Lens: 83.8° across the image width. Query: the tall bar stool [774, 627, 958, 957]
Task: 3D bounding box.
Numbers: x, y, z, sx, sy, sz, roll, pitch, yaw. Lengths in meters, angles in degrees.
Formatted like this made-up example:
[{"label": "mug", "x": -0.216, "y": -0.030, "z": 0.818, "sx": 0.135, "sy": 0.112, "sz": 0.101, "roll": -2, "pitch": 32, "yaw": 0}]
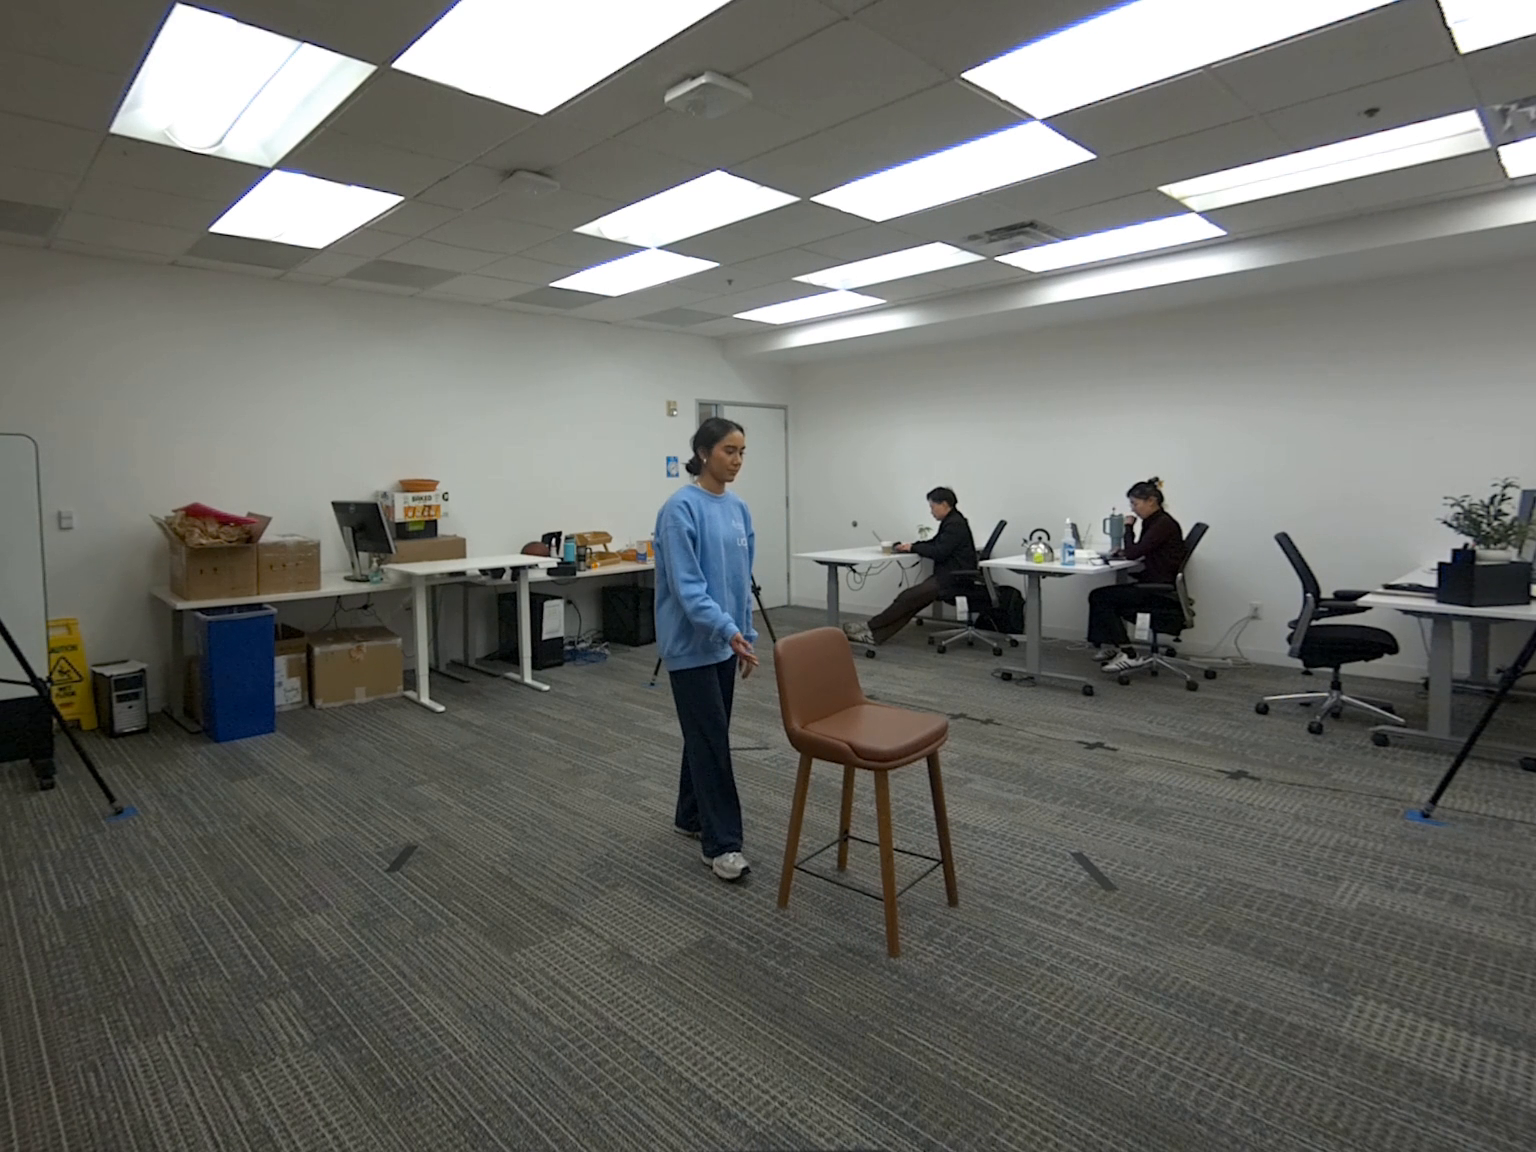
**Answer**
[{"label": "tall bar stool", "x": 0.309, "y": 0.640, "z": 2.755, "sx": 0.481, "sy": 0.888, "sz": 0.444, "roll": 0, "pitch": 3, "yaw": 41}]
